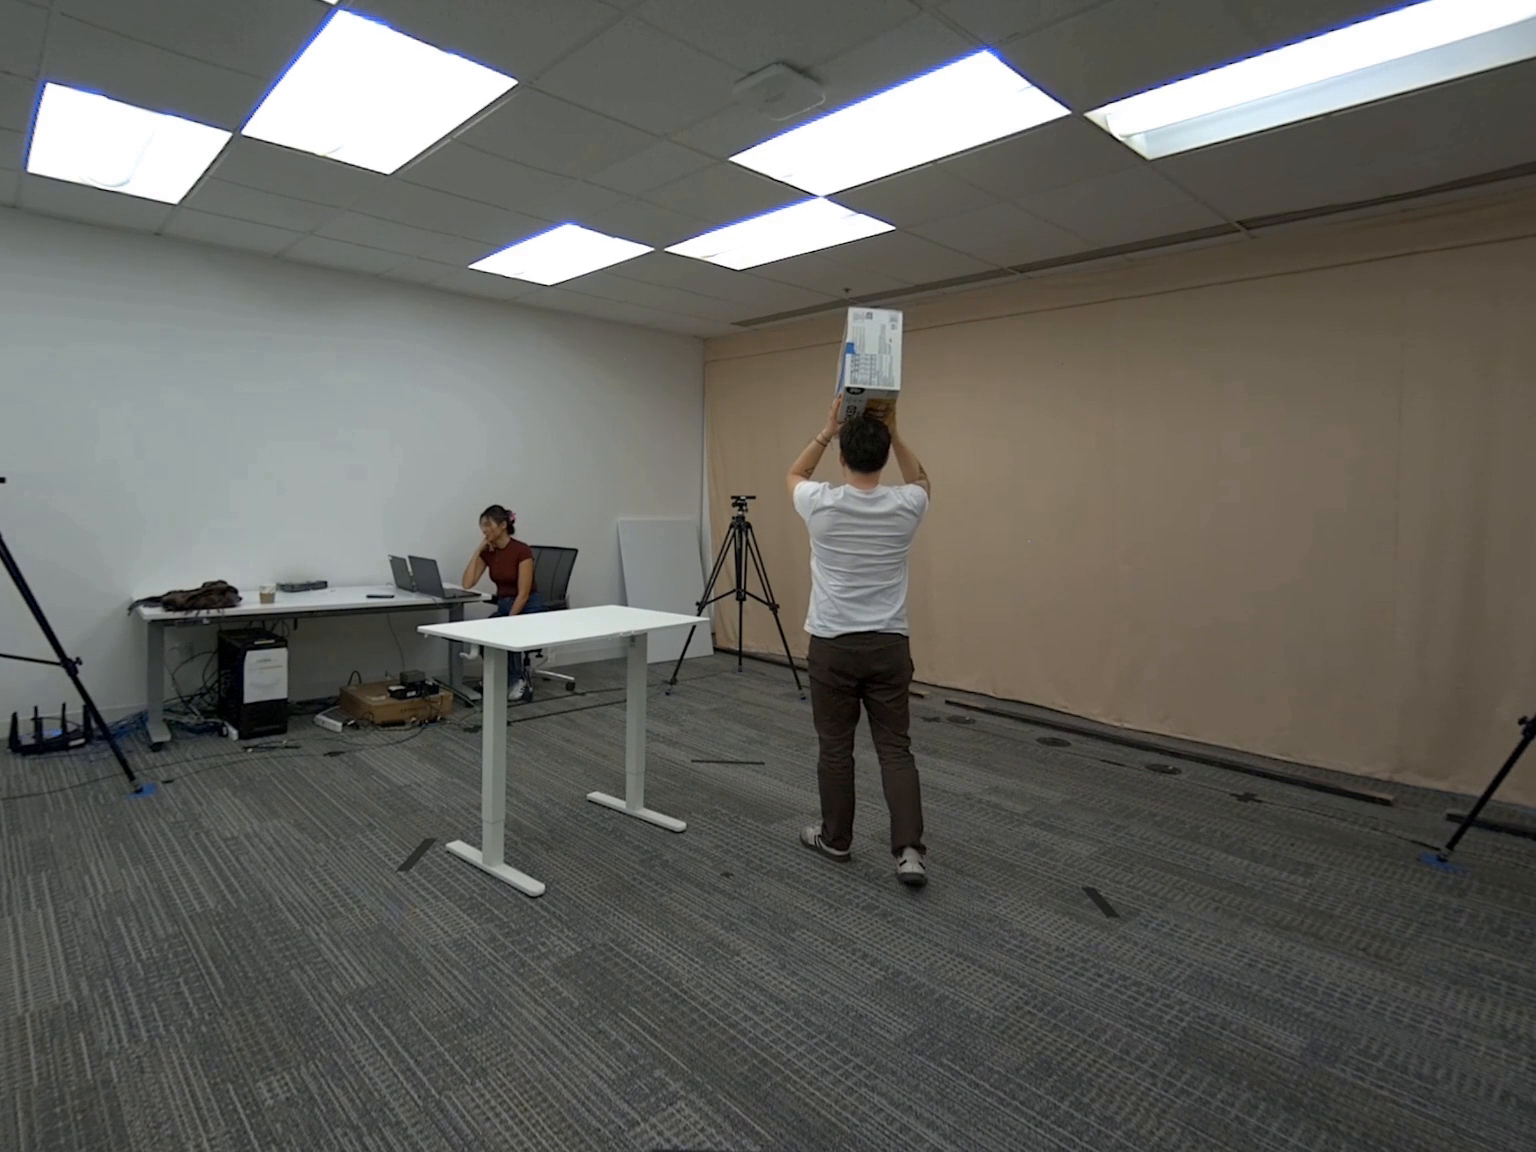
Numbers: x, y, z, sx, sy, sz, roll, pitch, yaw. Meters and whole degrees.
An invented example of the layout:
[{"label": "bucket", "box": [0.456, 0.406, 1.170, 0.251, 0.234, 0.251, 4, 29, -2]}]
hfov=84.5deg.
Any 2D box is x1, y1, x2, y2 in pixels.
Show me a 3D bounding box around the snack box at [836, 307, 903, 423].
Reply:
[{"label": "snack box", "box": [0.372, -0.761, 3.242, 0.206, 0.345, 0.399, 4, -20, 1]}]
